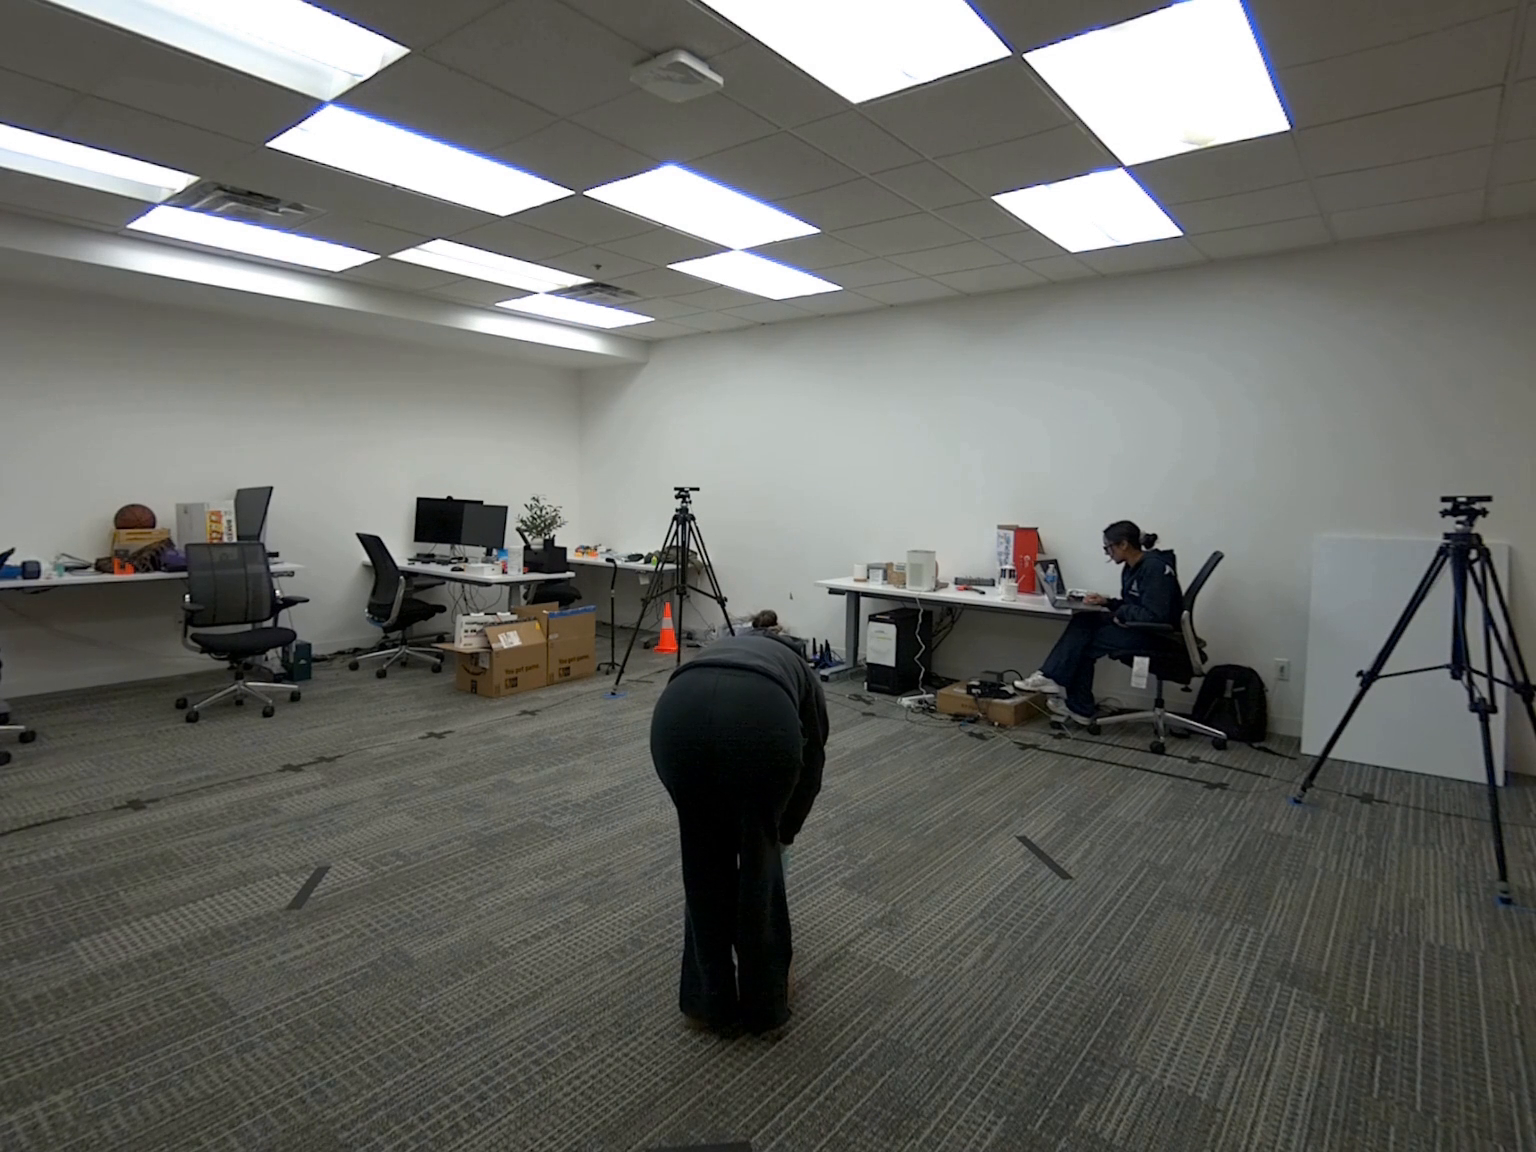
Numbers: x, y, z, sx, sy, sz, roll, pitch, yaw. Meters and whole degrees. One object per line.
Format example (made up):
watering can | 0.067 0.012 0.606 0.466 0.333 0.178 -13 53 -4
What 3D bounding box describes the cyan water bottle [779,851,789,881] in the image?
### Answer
cyan water bottle | 0.026 0.963 2.738 0.092 0.287 0.091 6 -14 0
